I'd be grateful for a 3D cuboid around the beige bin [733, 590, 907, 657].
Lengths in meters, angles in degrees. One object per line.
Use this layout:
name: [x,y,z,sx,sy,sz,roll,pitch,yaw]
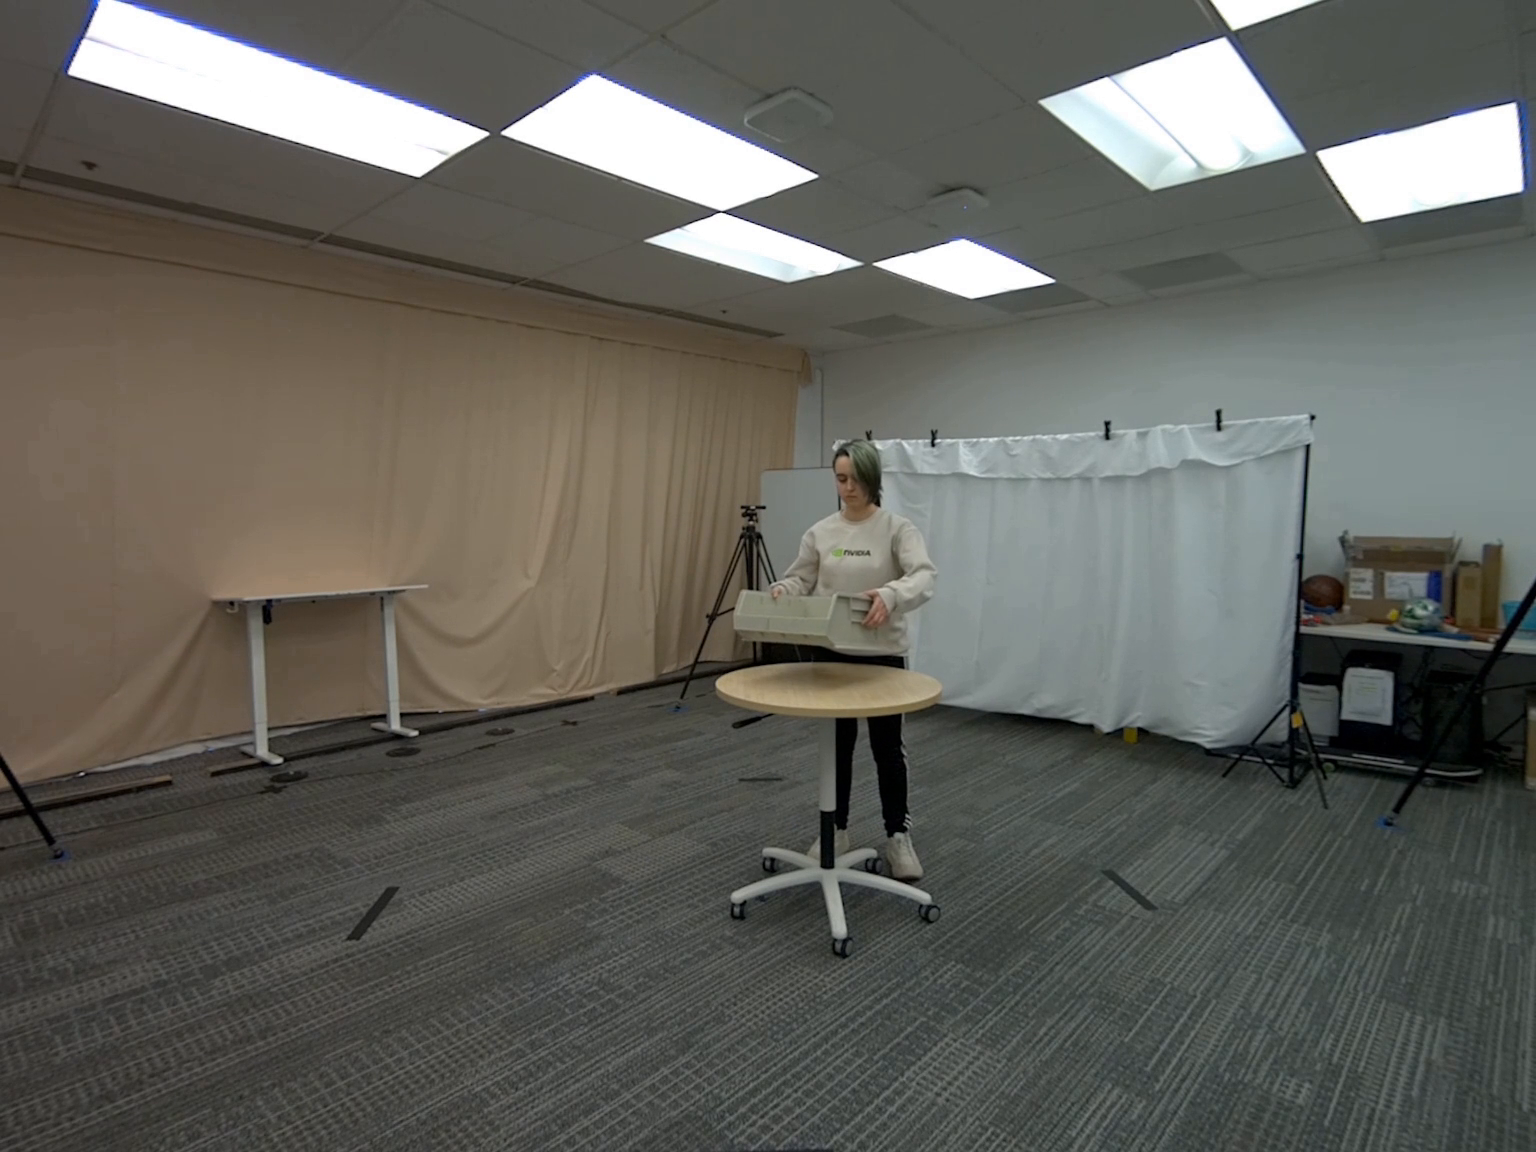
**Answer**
beige bin: [0.159,0.151,2.923,0.436,0.189,0.364,-1,-7,45]
